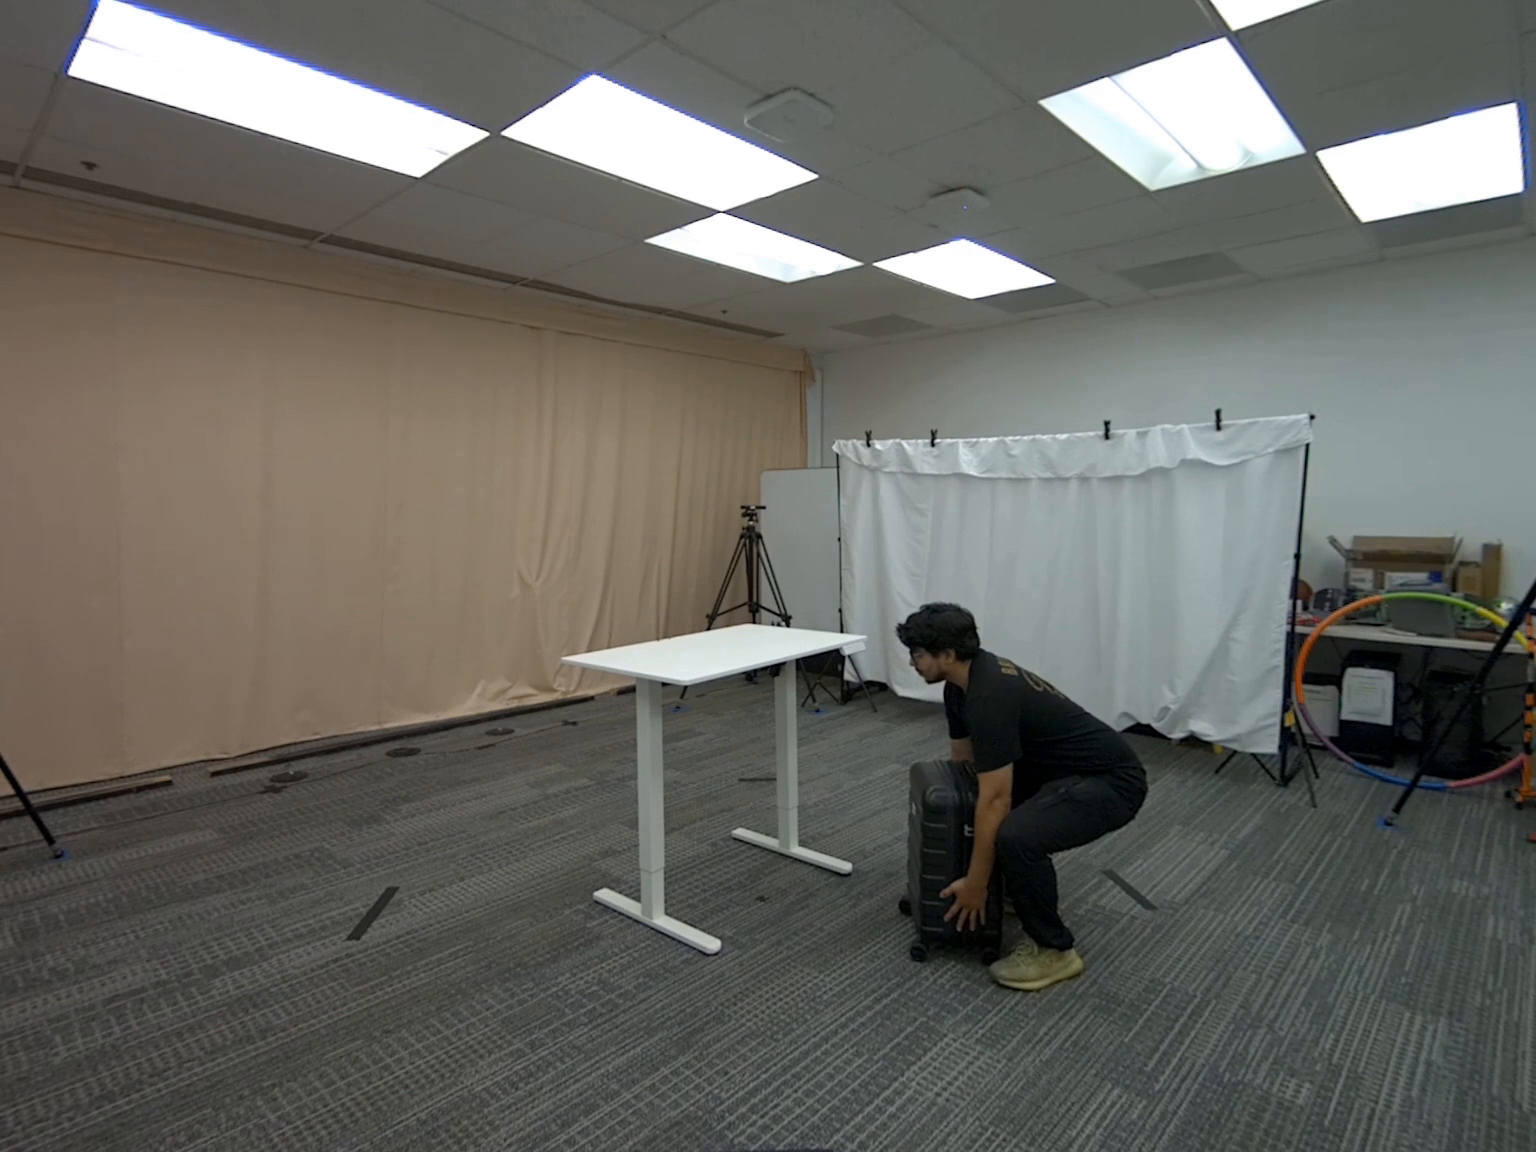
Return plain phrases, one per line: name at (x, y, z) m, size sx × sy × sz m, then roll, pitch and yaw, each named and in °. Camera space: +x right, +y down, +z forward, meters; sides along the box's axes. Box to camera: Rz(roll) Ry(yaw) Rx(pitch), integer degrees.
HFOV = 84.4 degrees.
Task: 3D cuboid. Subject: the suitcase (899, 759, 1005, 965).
suitcase at (0.606, 0.894, 2.693) m, size 0.249 × 0.548 × 0.375 m, roll 3°, pitch 5°, yaw 2°
